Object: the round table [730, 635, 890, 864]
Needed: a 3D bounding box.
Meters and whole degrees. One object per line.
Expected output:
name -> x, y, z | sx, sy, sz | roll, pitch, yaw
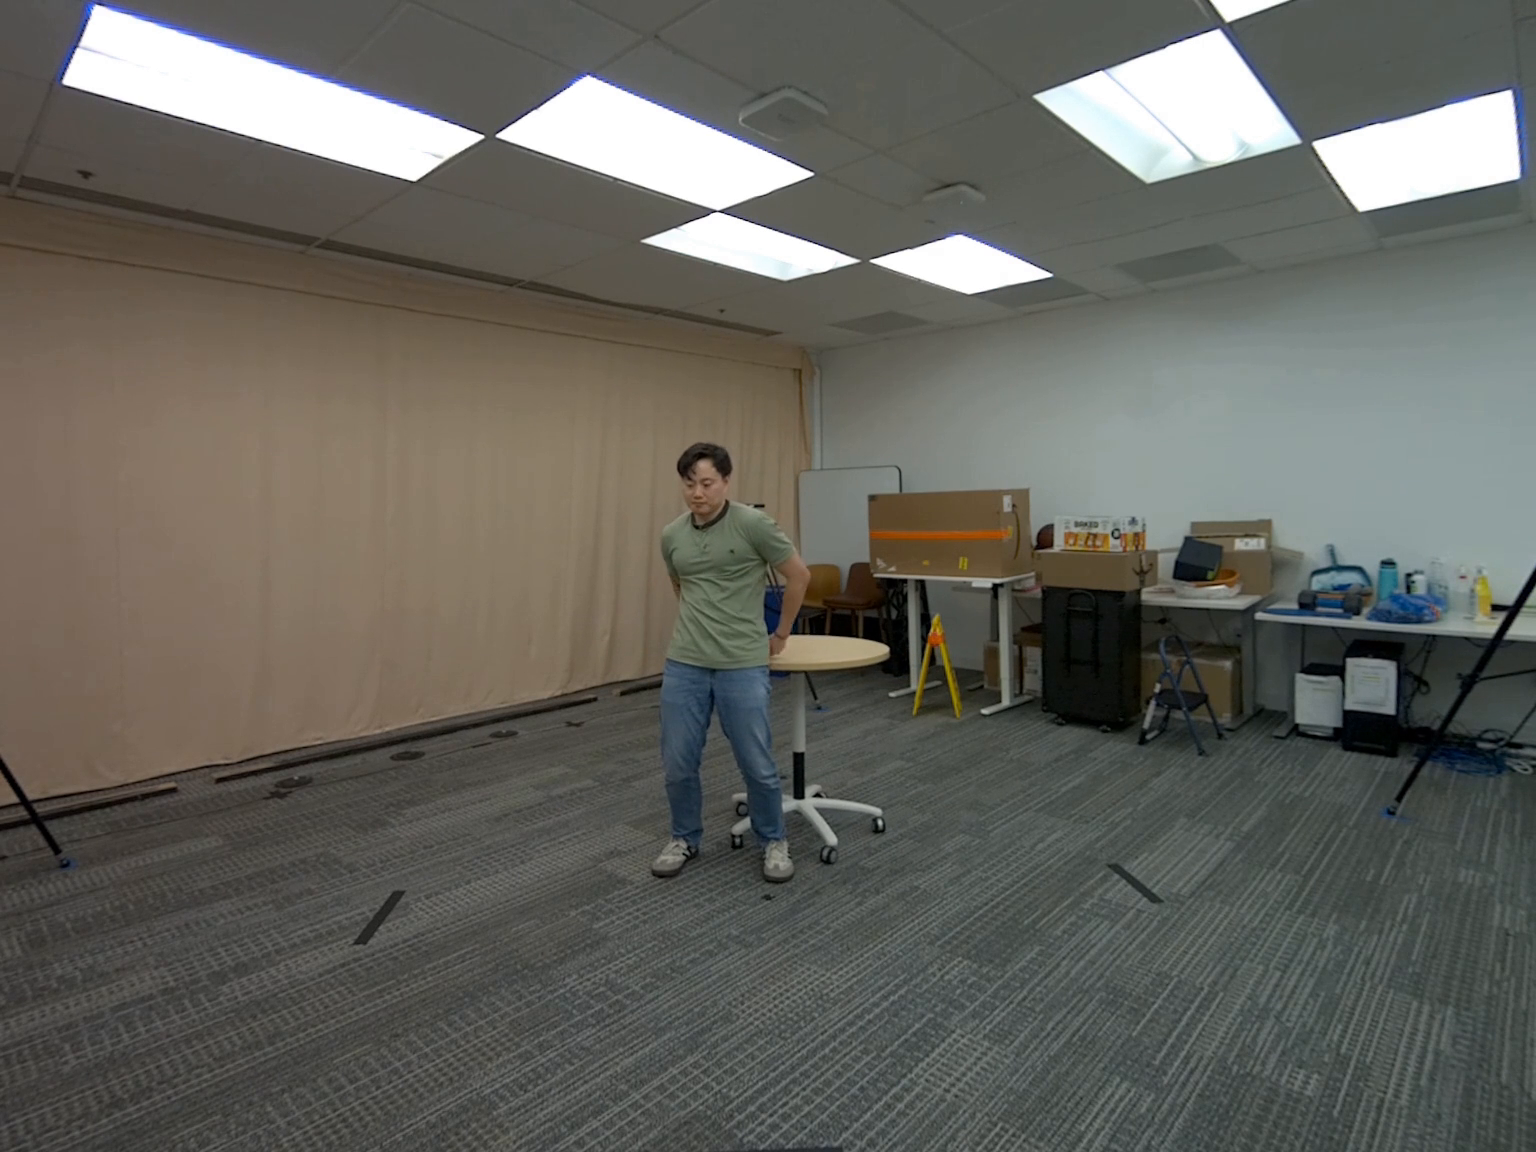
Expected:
round table -> 0.129, 0.698, 3.576 | 0.763, 0.793, 0.766 | -1, 3, -2
